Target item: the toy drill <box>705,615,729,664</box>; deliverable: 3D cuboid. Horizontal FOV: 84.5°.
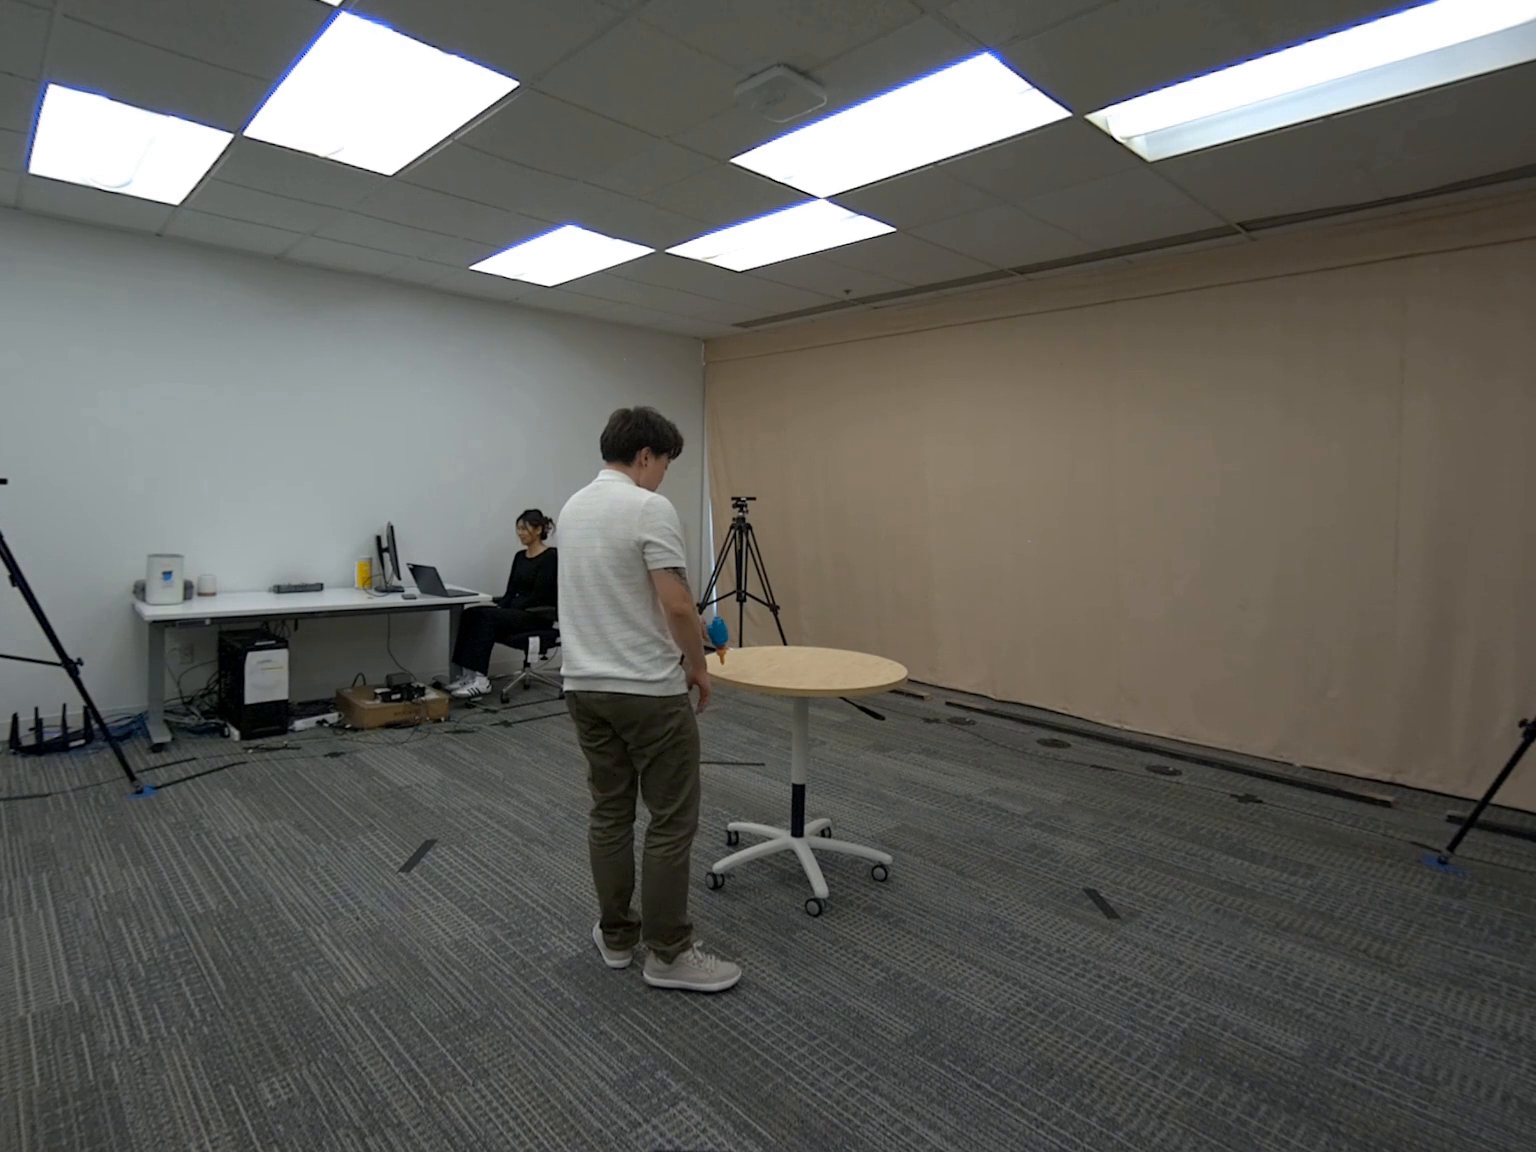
[{"bbox_3d":[-0.223,0.231,2.893,0.145,0.169,0.061,-7,4,-4],"label":"toy drill"}]
